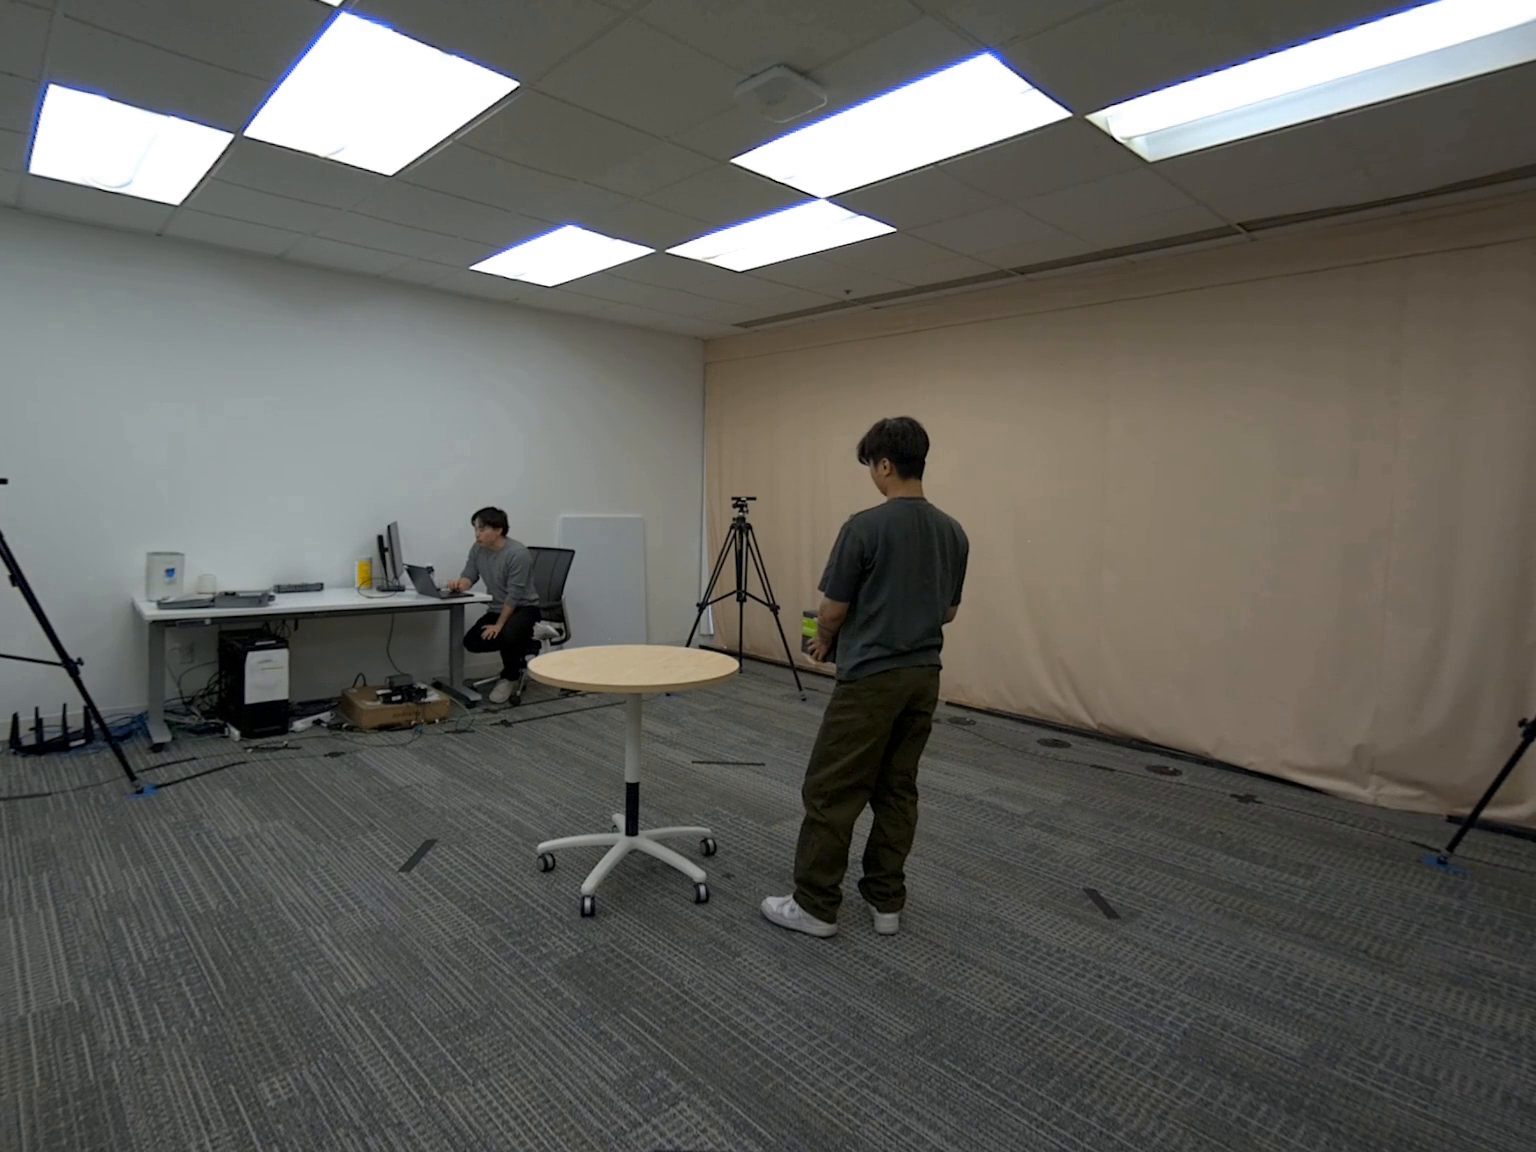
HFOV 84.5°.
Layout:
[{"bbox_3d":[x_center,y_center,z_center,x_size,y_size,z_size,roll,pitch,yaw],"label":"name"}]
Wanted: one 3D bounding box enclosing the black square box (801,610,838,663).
[{"bbox_3d":[0.272,0.220,3.079,0.213,0.155,0.233,0,6,-27],"label":"black square box"}]
